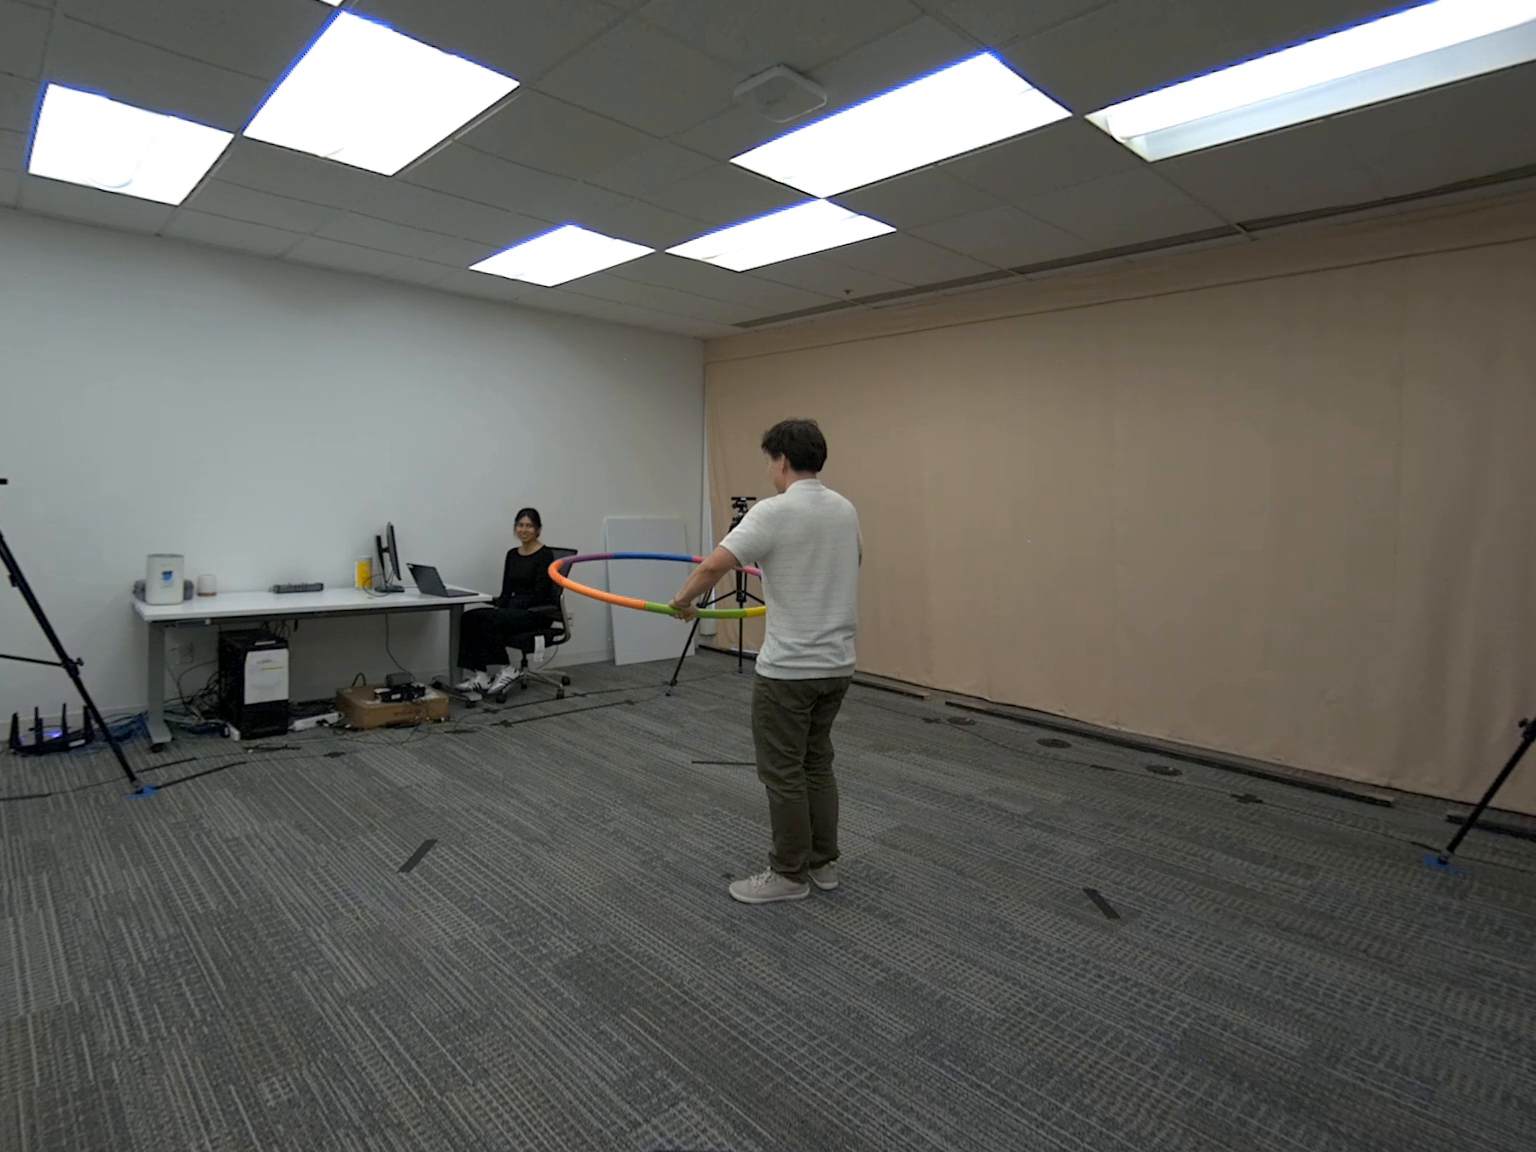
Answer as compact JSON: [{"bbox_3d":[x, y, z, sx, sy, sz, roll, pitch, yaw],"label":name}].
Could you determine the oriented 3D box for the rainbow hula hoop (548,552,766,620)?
[{"bbox_3d":[-0.392,0.020,3.427,0.977,0.035,0.987,7,12,-3],"label":"rainbow hula hoop"}]
